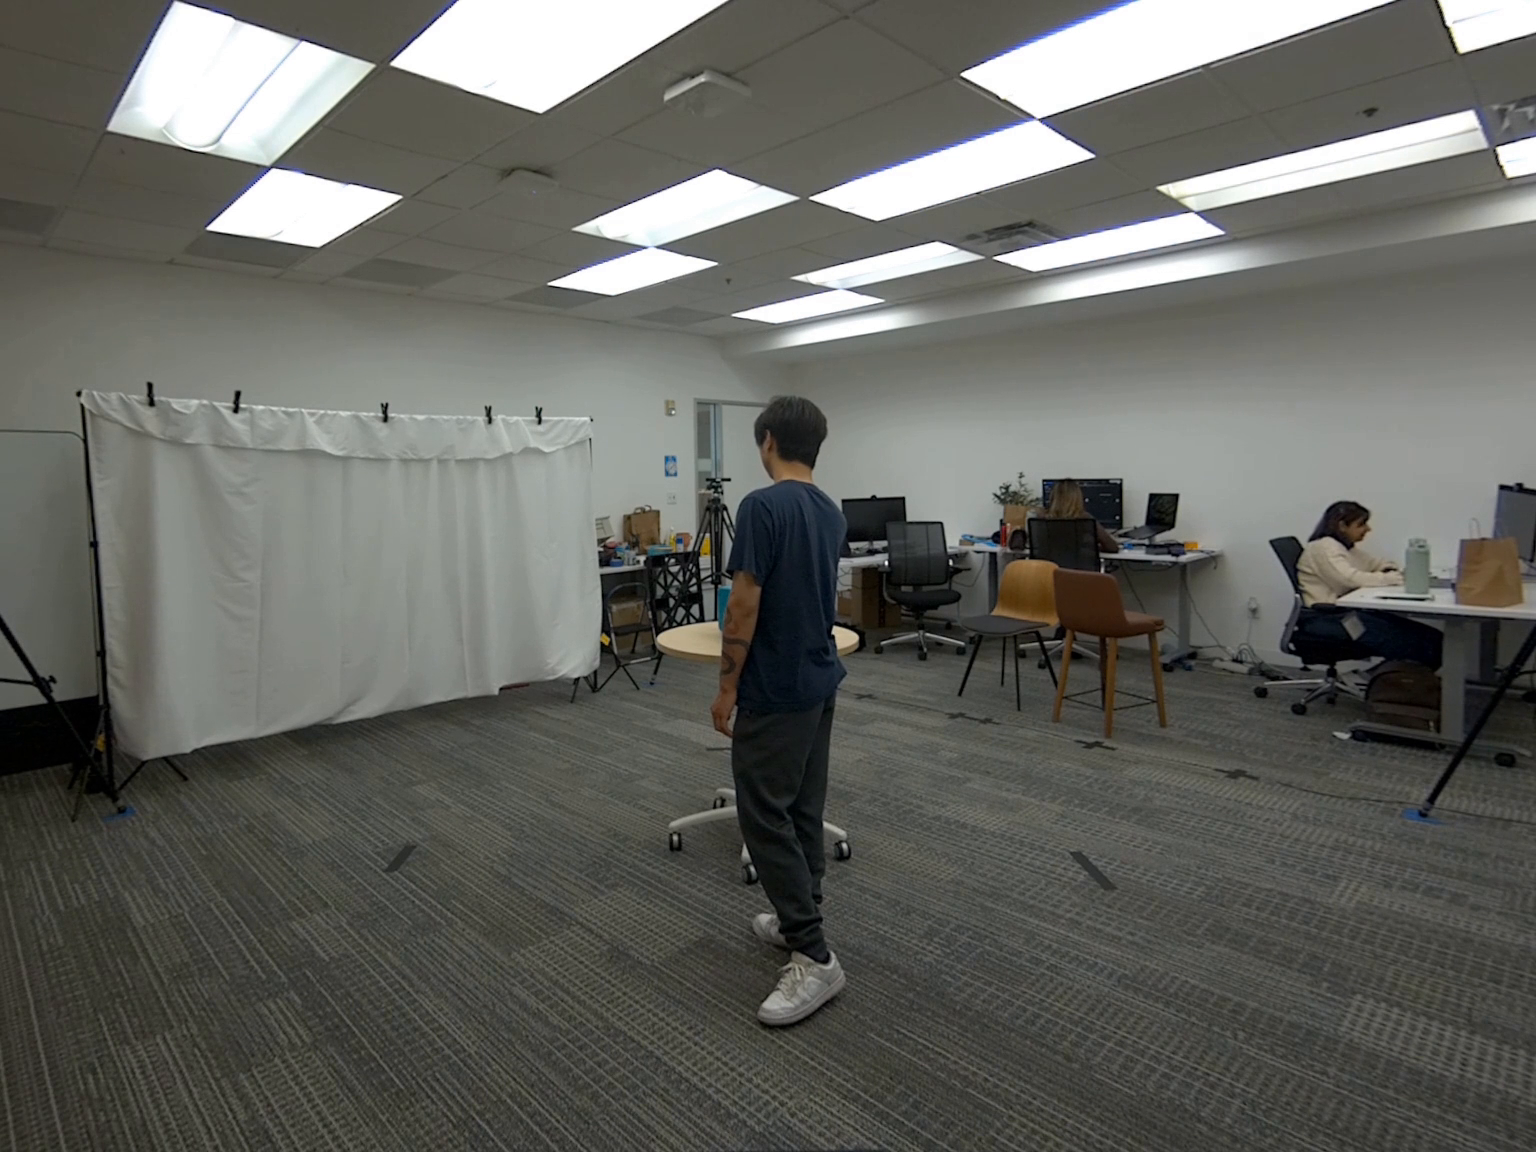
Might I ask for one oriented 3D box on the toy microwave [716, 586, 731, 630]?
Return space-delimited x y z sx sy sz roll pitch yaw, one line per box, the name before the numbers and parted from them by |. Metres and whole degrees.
toy microwave | -0.048 0.138 3.265 0.148 0.183 0.295 -4 7 -36
